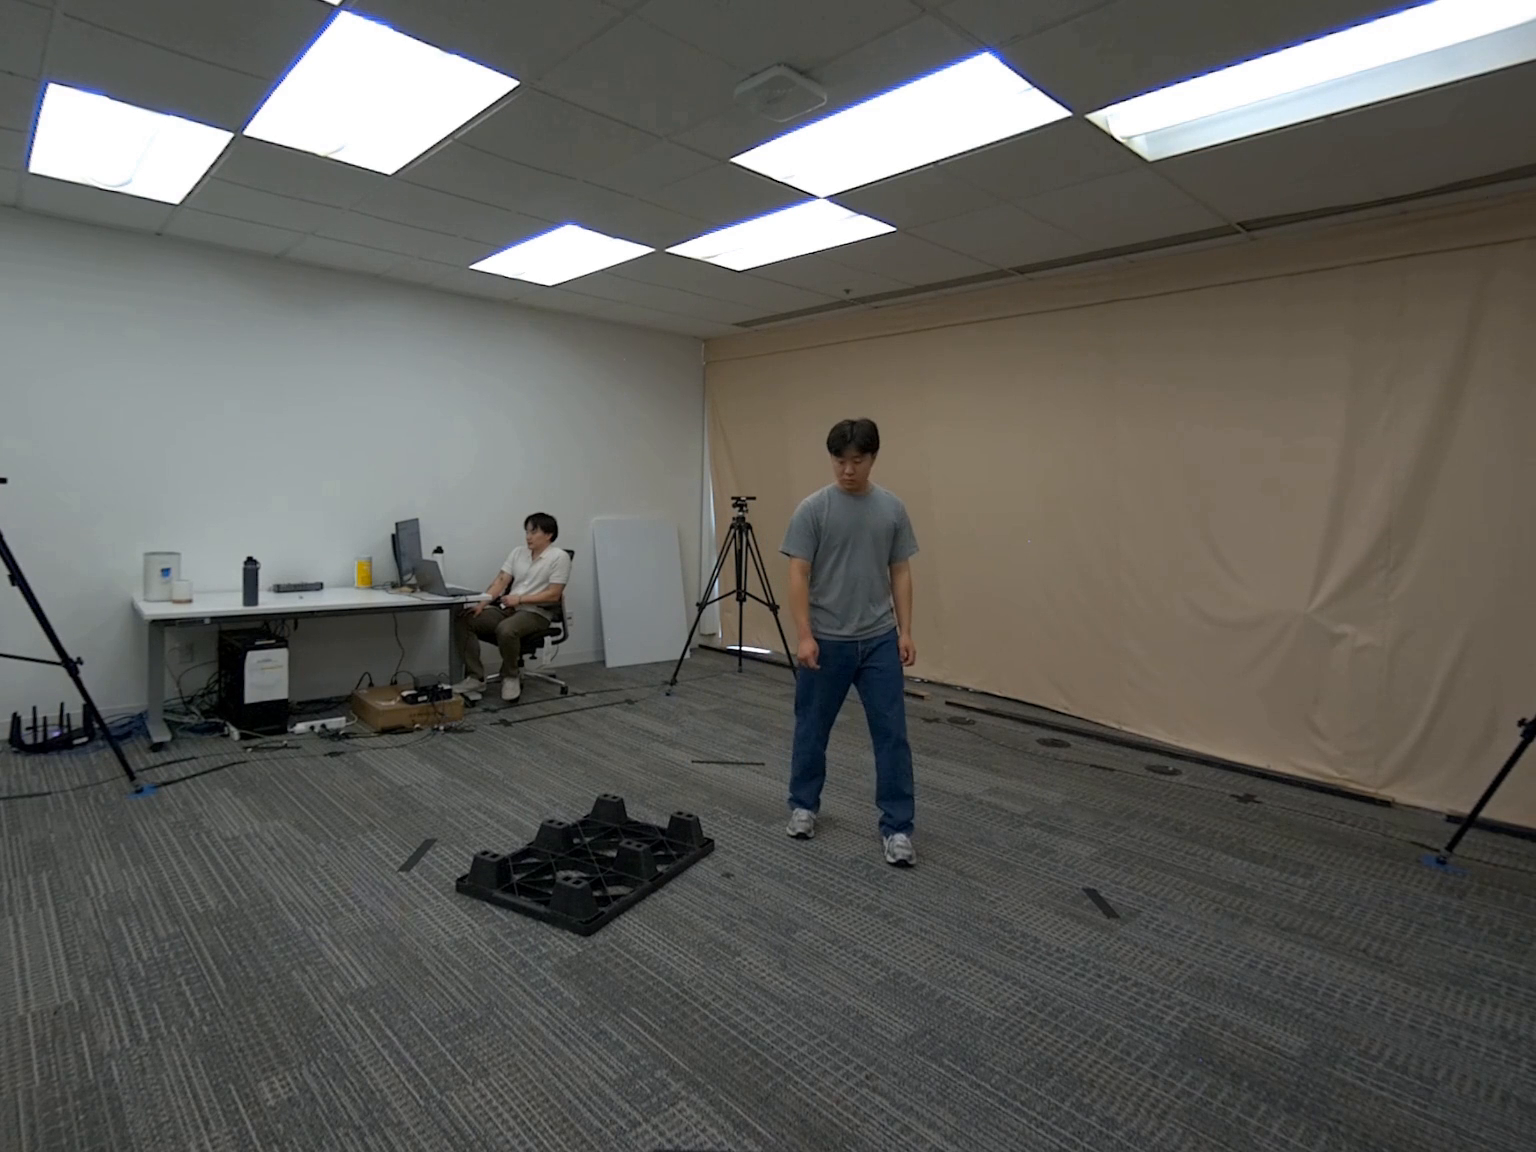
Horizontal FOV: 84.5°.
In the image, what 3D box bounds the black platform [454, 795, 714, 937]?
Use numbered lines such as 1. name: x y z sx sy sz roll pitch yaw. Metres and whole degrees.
1. black platform: -0.656 1.024 3.134 0.618 0.143 0.791 4 6 27
